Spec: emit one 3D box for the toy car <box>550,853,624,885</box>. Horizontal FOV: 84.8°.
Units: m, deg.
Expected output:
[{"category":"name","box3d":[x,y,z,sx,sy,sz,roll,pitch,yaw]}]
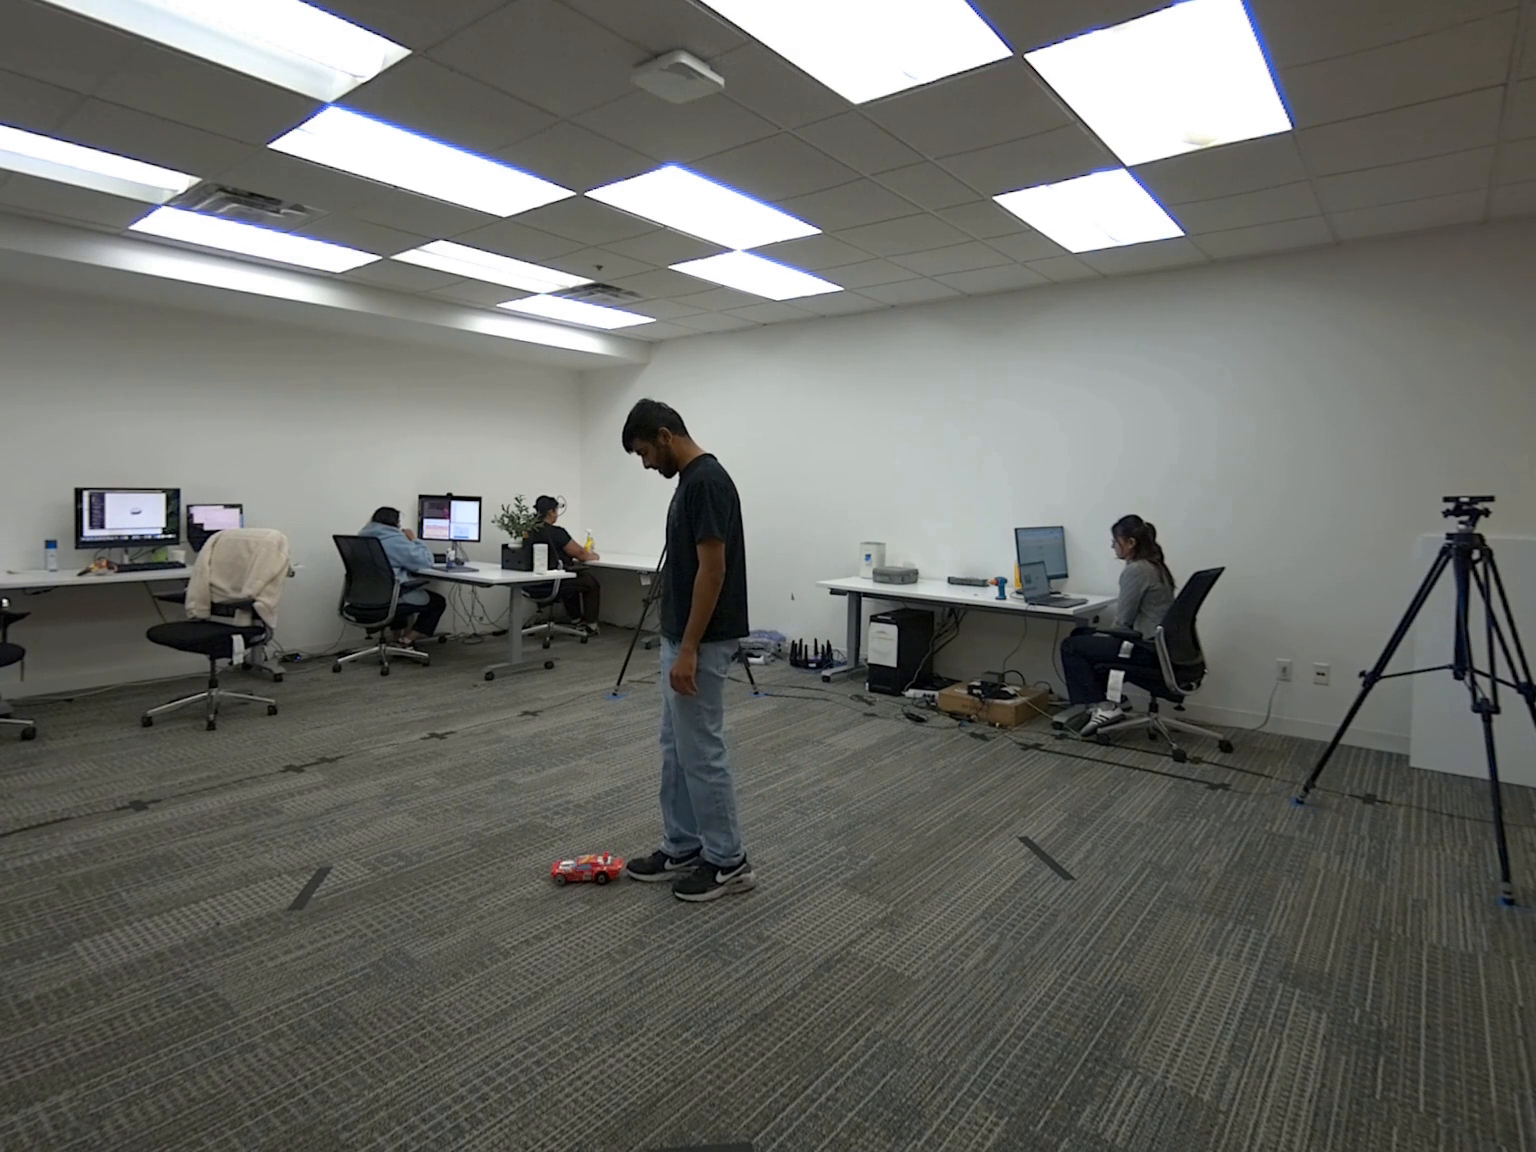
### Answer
[{"category":"toy car","box3d":[-0.646,1.037,3.018,0.253,0.083,0.131,-11,5,-5]}]
